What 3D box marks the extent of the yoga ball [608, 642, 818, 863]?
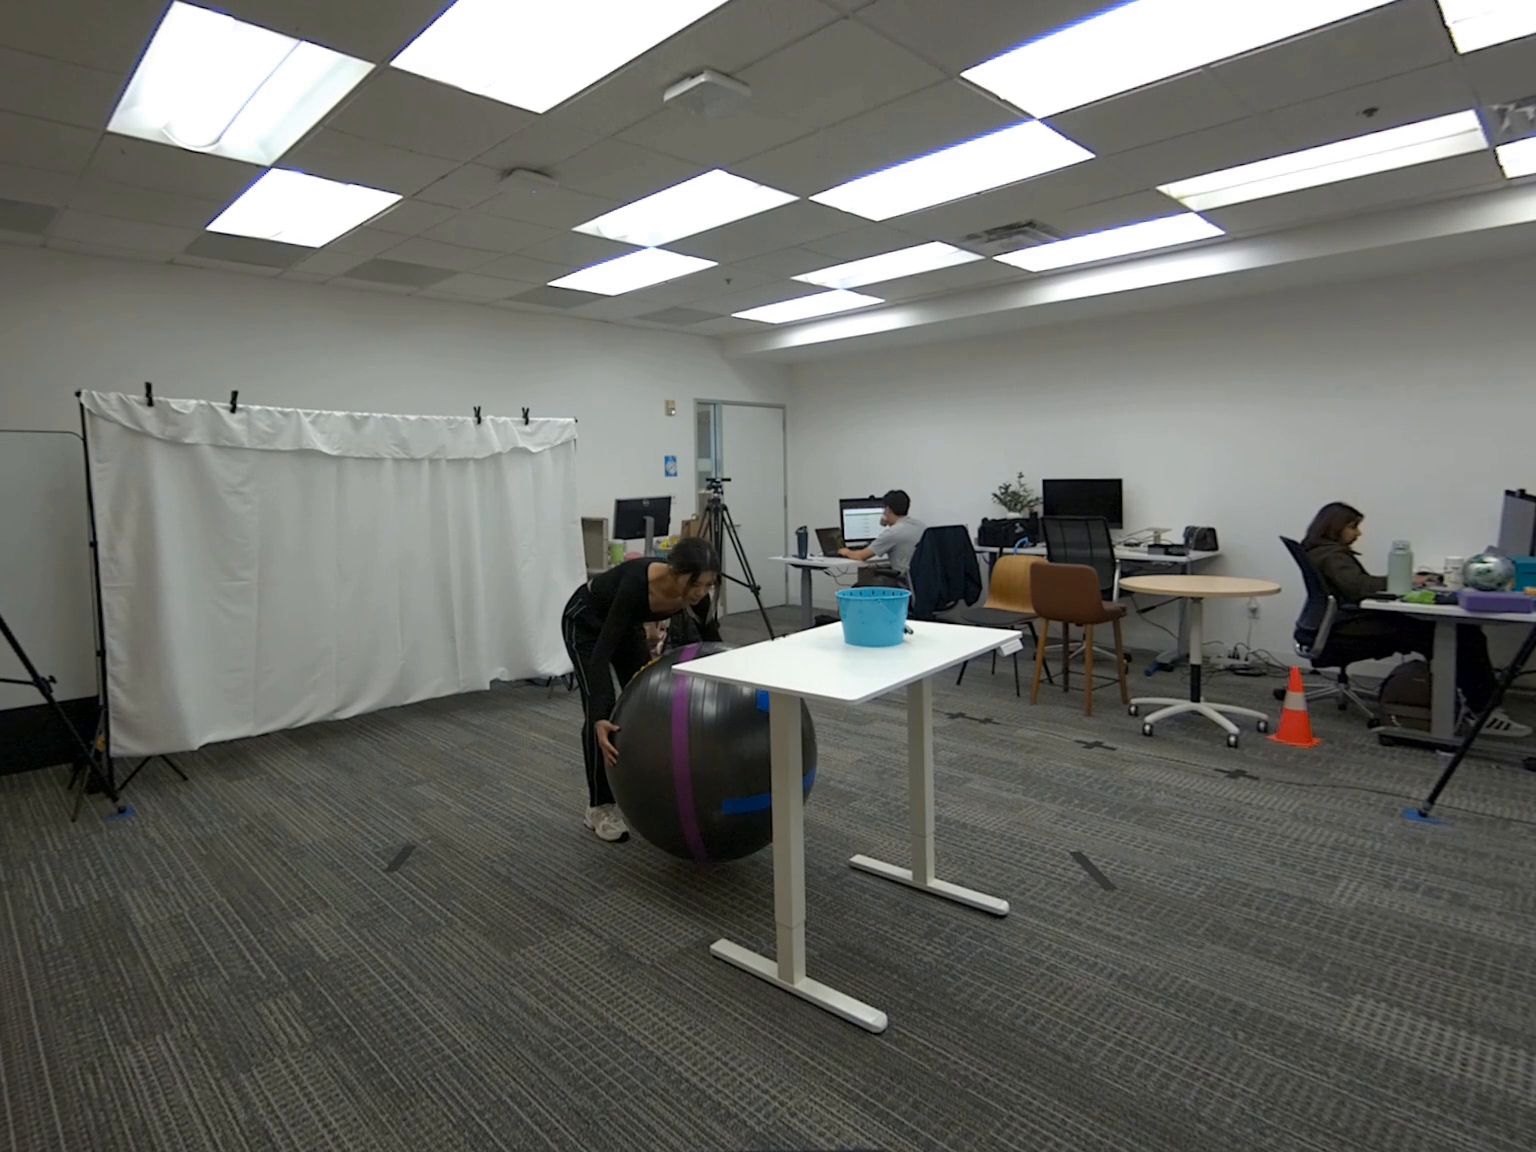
[{"bbox_3d":[-0.204,0.626,3.056,0.757,0.755,0.762,-1,5,-2],"label":"yoga ball"}]
